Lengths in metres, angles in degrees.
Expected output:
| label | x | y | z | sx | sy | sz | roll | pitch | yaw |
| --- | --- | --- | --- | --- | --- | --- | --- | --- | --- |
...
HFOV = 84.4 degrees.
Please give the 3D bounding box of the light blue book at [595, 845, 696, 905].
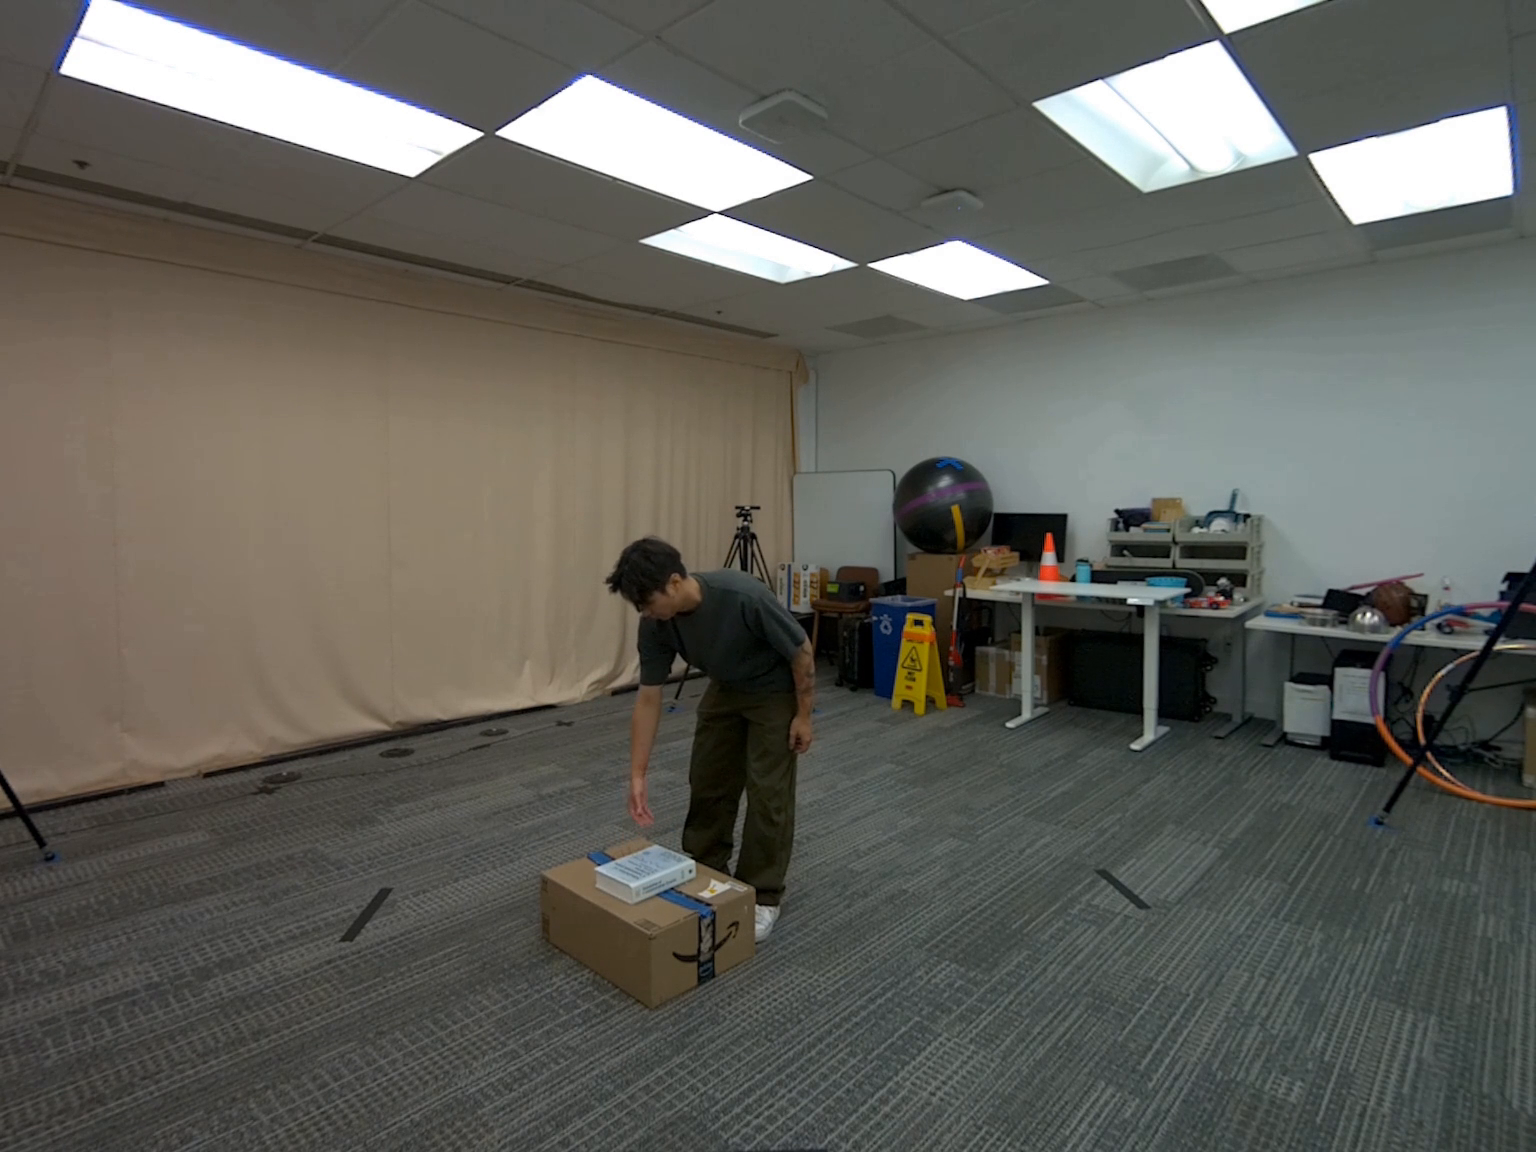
| label | x | y | z | sx | sy | sz | roll | pitch | yaw |
| --- | --- | --- | --- | --- | --- | --- | --- | --- | --- |
| light blue book | -0.388 | 0.934 | 2.651 | 0.198 | 0.059 | 0.253 | 3 | 5 | 43 |
